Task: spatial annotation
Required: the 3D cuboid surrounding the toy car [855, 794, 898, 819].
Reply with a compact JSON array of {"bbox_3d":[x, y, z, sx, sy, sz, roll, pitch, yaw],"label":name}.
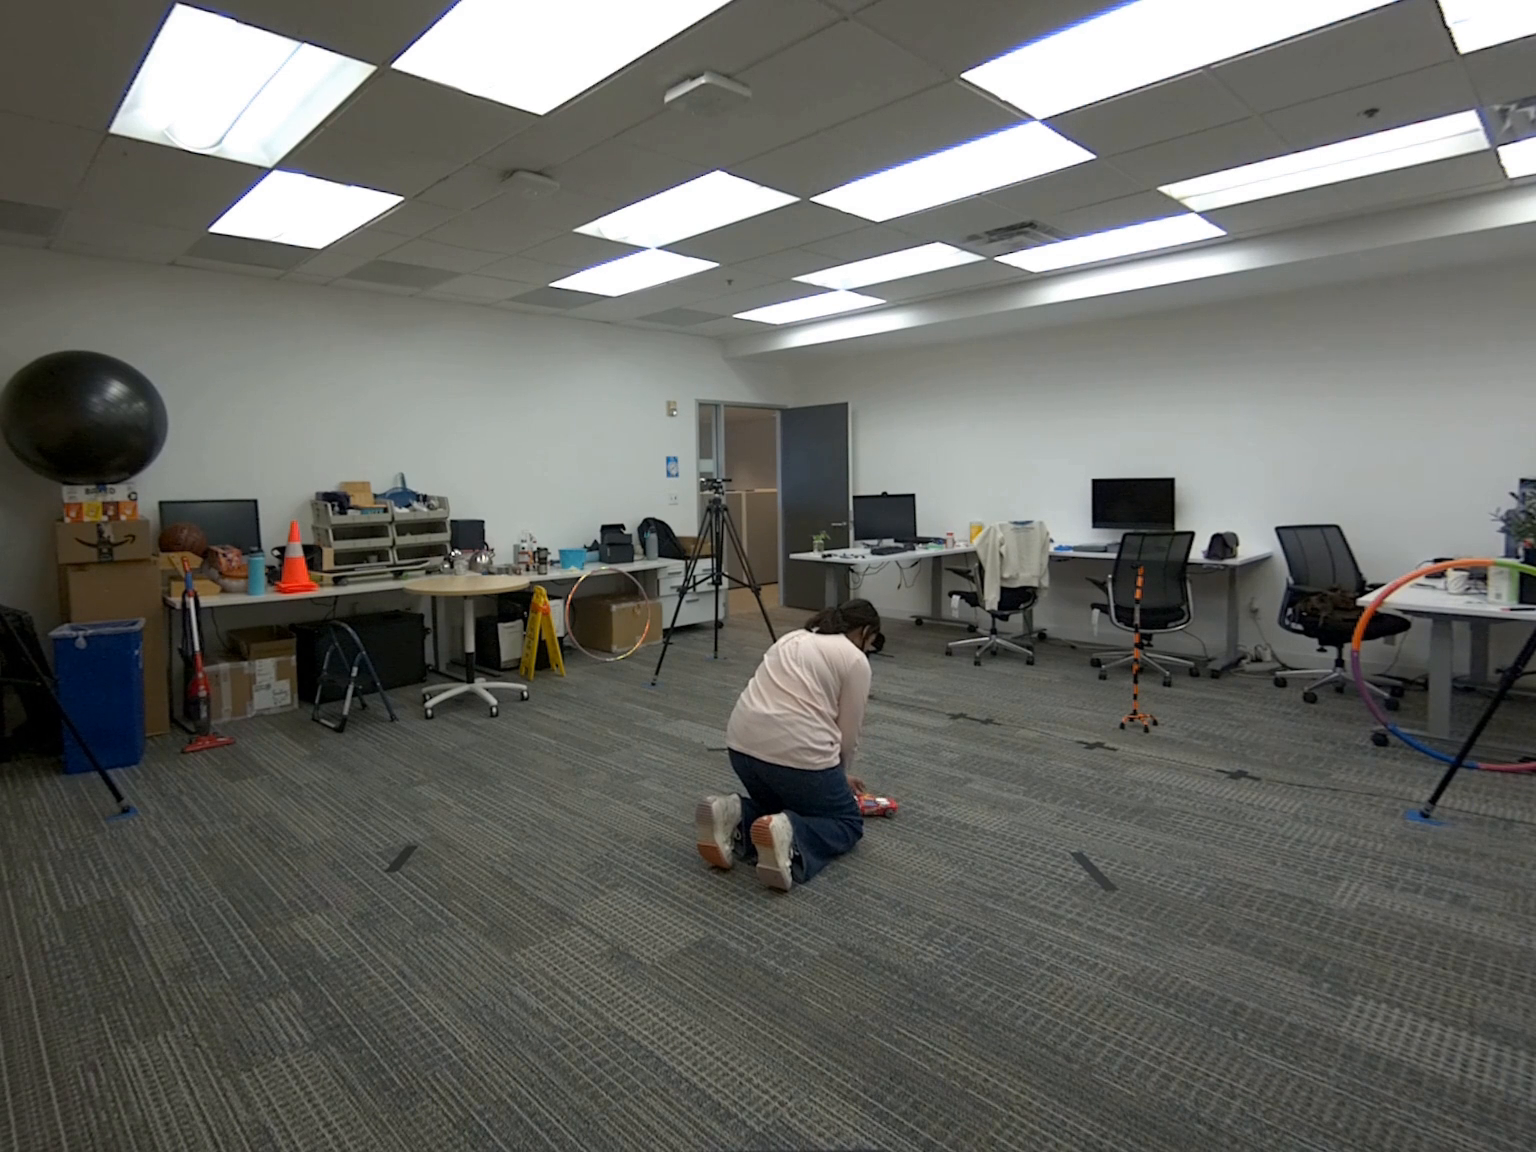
[{"bbox_3d":[0.408,0.956,3.545,0.254,0.083,0.131,8,5,-3],"label":"toy car"}]
